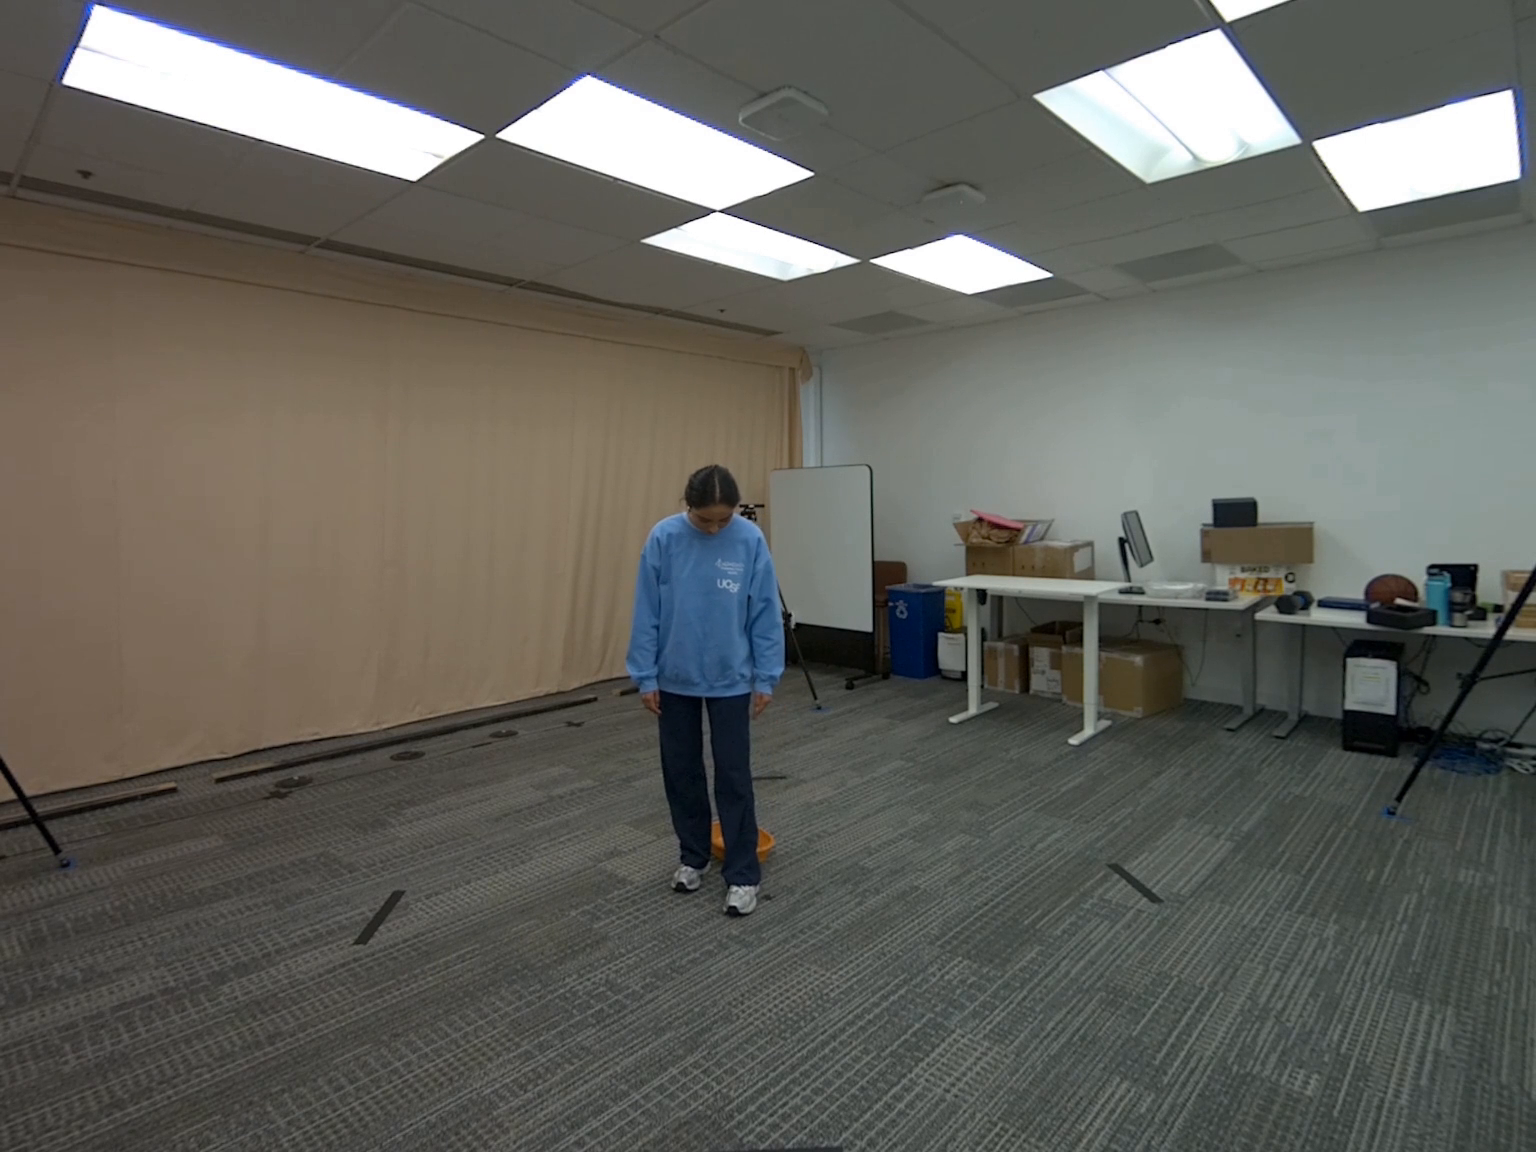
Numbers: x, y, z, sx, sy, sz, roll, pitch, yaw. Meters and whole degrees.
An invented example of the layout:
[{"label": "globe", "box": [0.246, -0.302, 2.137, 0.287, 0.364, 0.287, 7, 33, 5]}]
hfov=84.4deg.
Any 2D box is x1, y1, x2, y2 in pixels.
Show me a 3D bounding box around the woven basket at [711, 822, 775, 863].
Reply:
[{"label": "woven basket", "box": [-0.121, 1.069, 3.365, 0.246, 0.073, 0.360, -3, 5, -27]}]
